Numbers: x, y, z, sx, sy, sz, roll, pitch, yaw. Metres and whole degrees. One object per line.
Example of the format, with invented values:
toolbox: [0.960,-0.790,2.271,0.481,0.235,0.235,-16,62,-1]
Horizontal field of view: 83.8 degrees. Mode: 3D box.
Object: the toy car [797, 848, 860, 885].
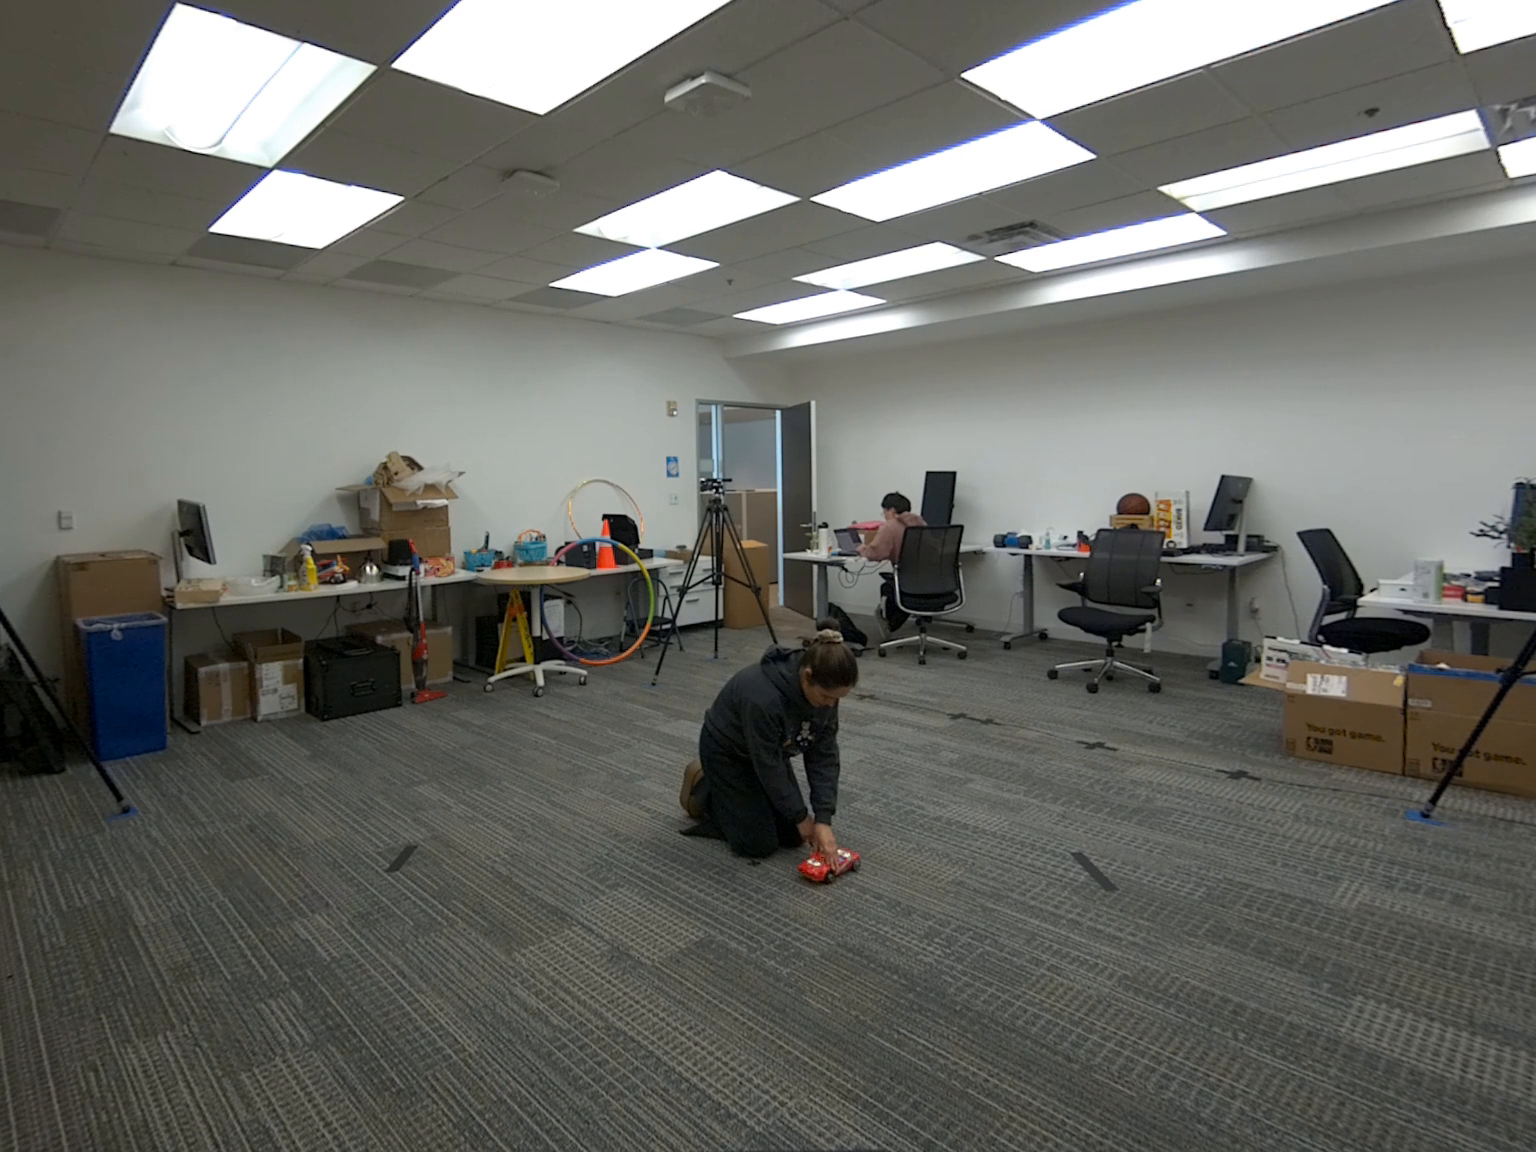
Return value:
toy car: [0.212,1.017,2.999,0.246,0.083,0.134,9,-3,-42]
